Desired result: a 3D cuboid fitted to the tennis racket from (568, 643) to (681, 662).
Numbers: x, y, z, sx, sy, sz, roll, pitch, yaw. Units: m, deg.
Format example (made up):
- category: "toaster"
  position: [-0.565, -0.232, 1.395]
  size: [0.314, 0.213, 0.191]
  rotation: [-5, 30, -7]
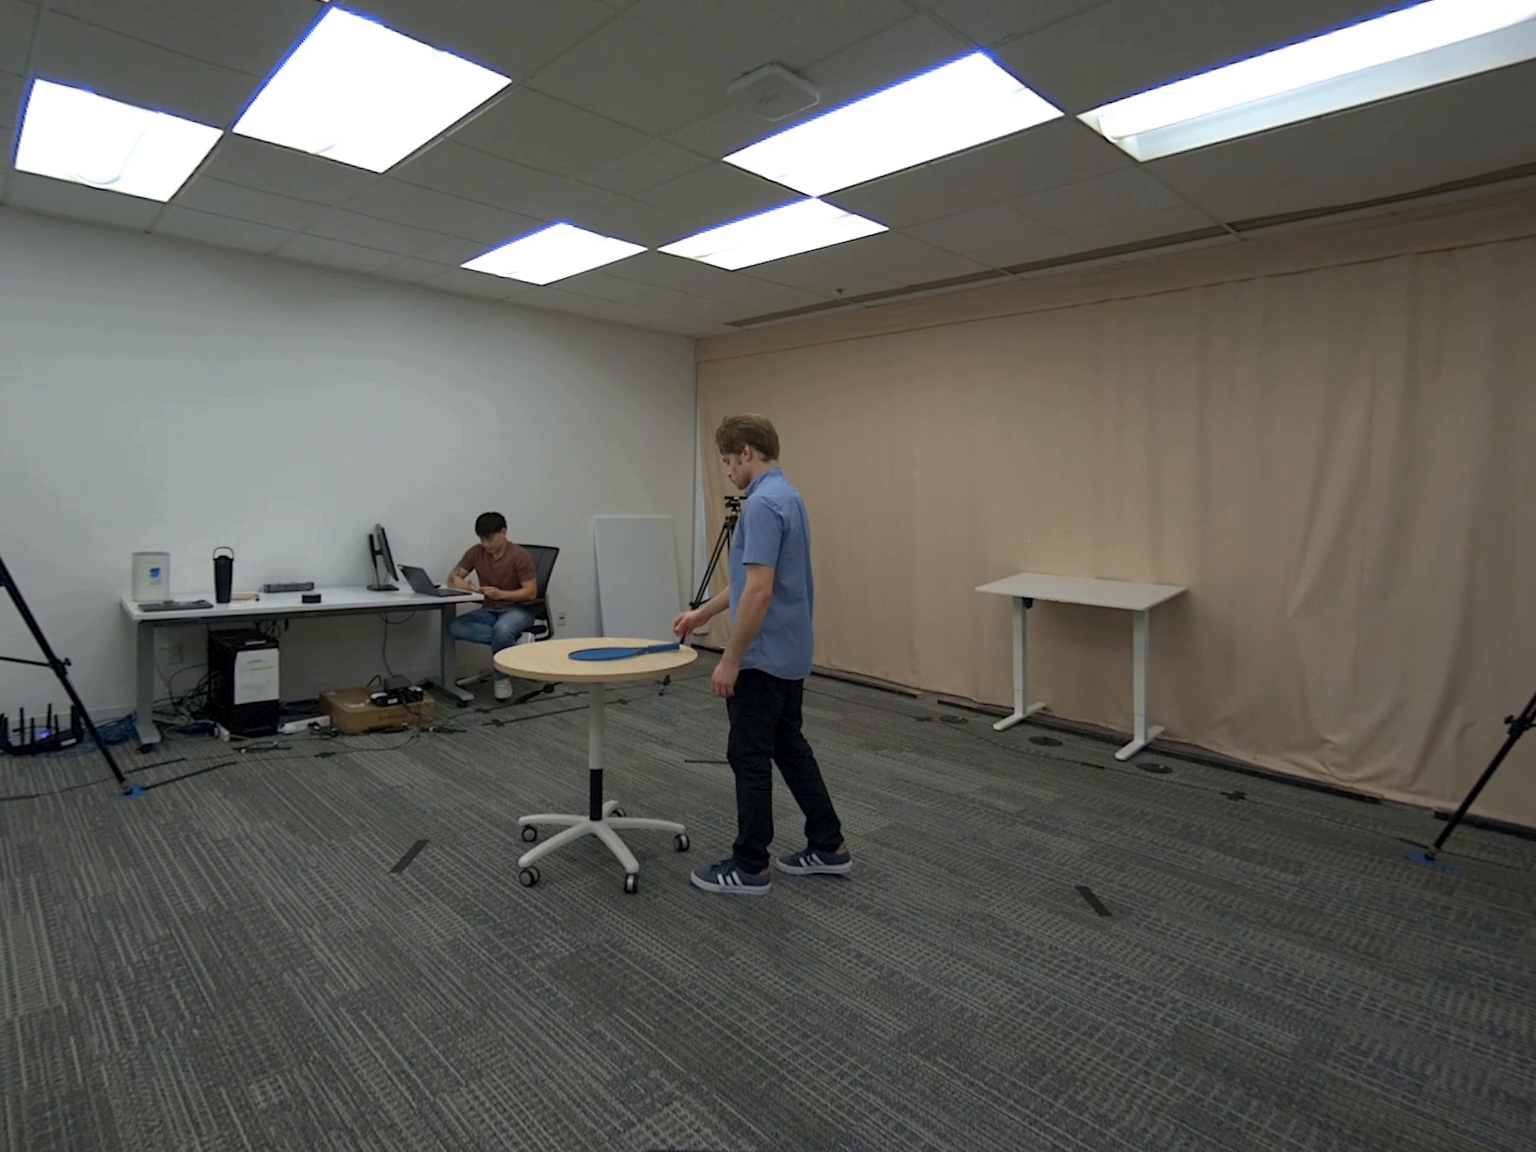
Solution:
- category: "tennis racket"
  position: [-0.550, 0.292, 3.191]
  size: [0.426, 0.031, 0.218]
  rotation: [-3, 5, -22]
